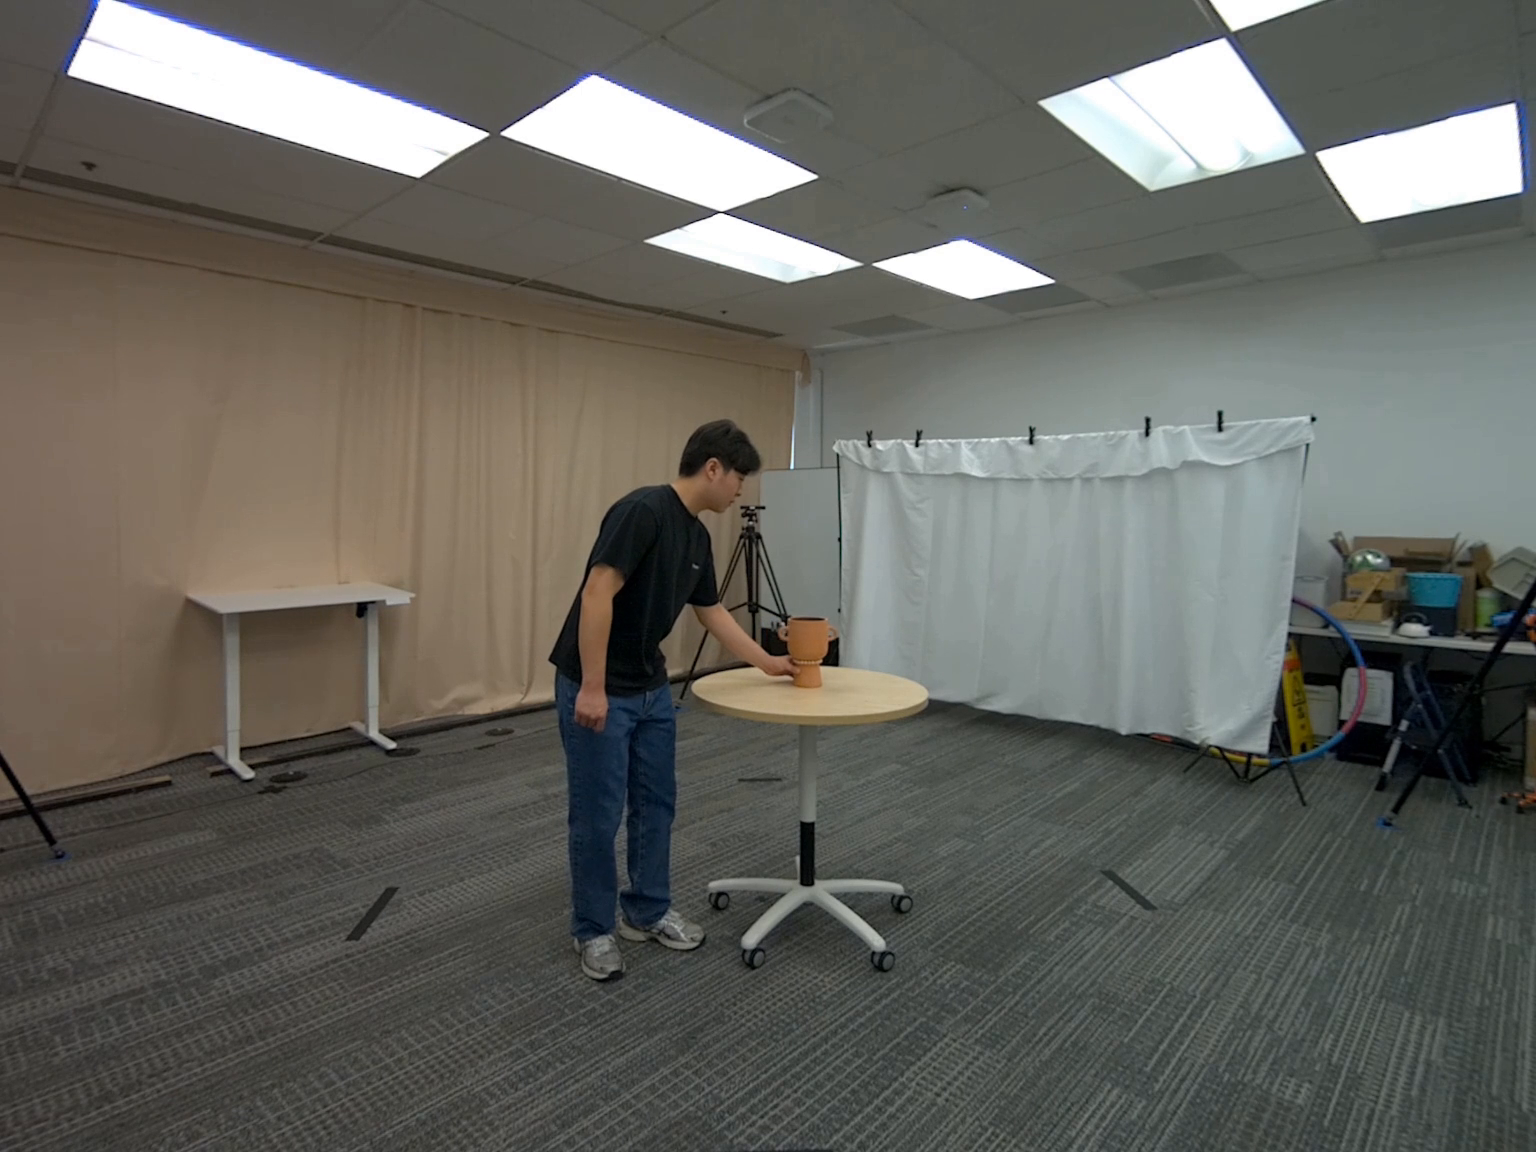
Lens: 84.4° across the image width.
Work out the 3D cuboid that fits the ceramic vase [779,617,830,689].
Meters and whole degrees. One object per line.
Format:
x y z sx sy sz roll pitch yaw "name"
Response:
0.140 0.253 2.780 0.163 0.219 0.131 2 2 32 "ceramic vase"
